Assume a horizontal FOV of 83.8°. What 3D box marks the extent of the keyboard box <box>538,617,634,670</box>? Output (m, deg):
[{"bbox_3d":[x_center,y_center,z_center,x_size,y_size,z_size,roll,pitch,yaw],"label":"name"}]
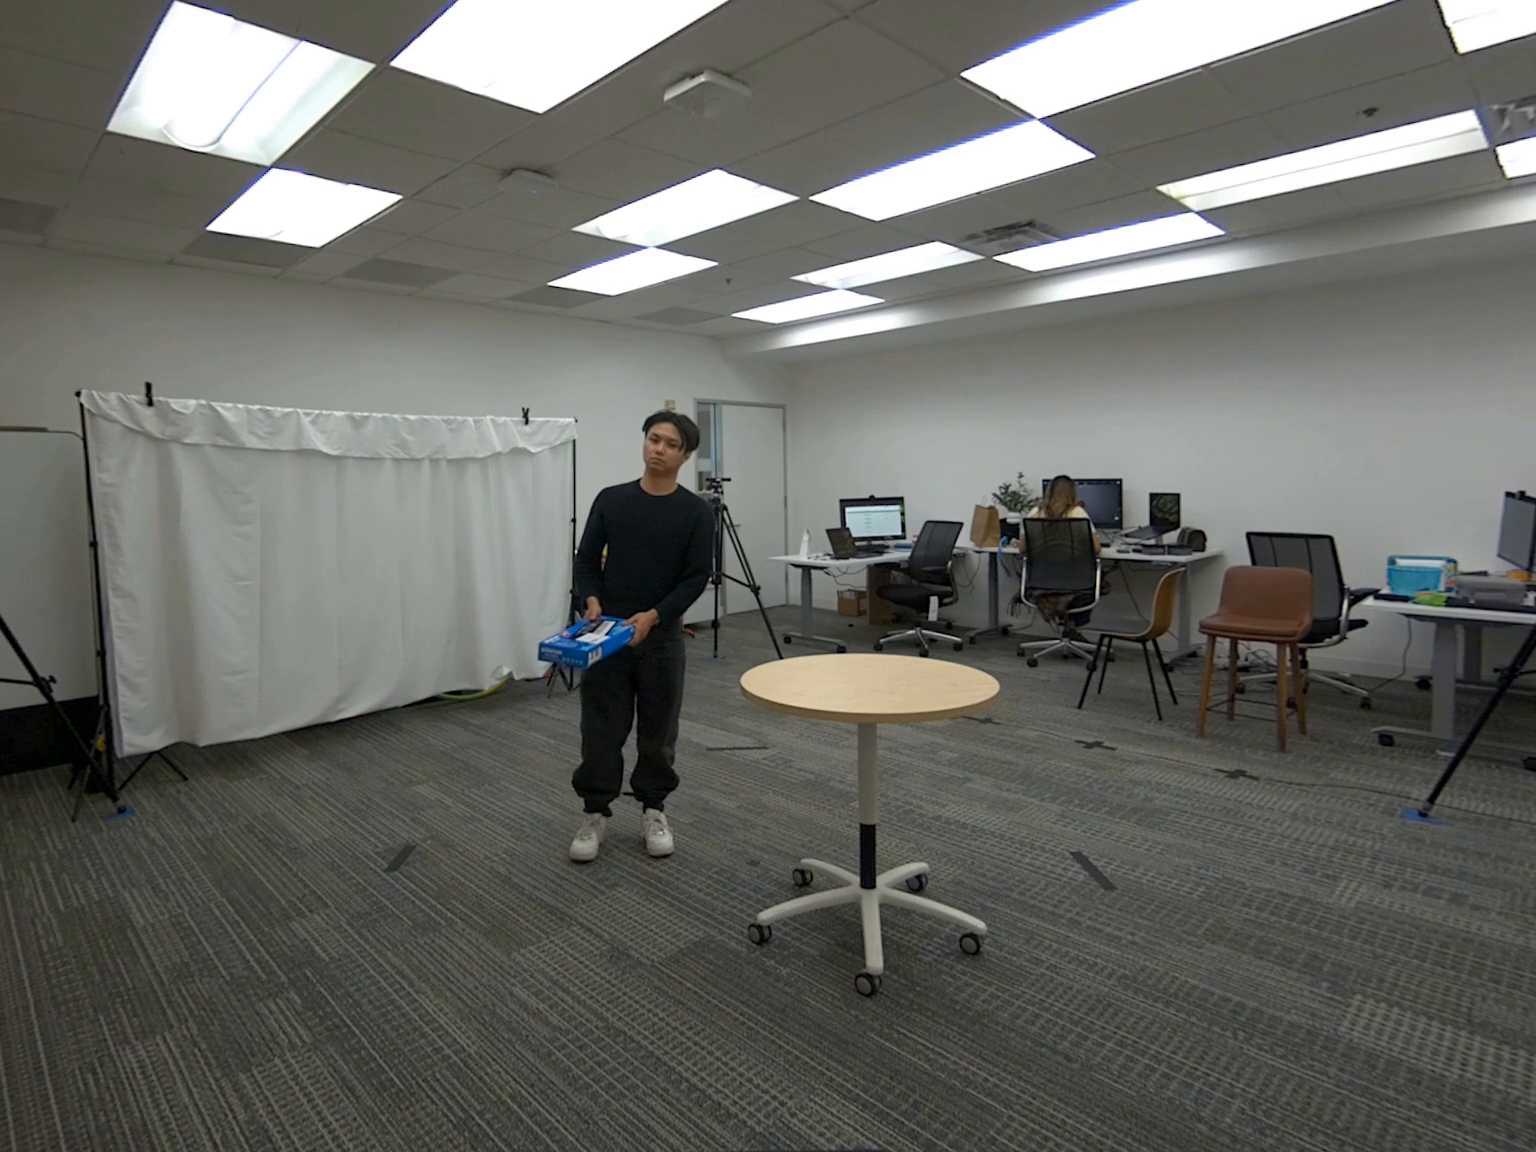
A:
[{"bbox_3d":[-0.592,0.217,2.886,0.179,0.058,0.433,5,11,14],"label":"keyboard box"}]
